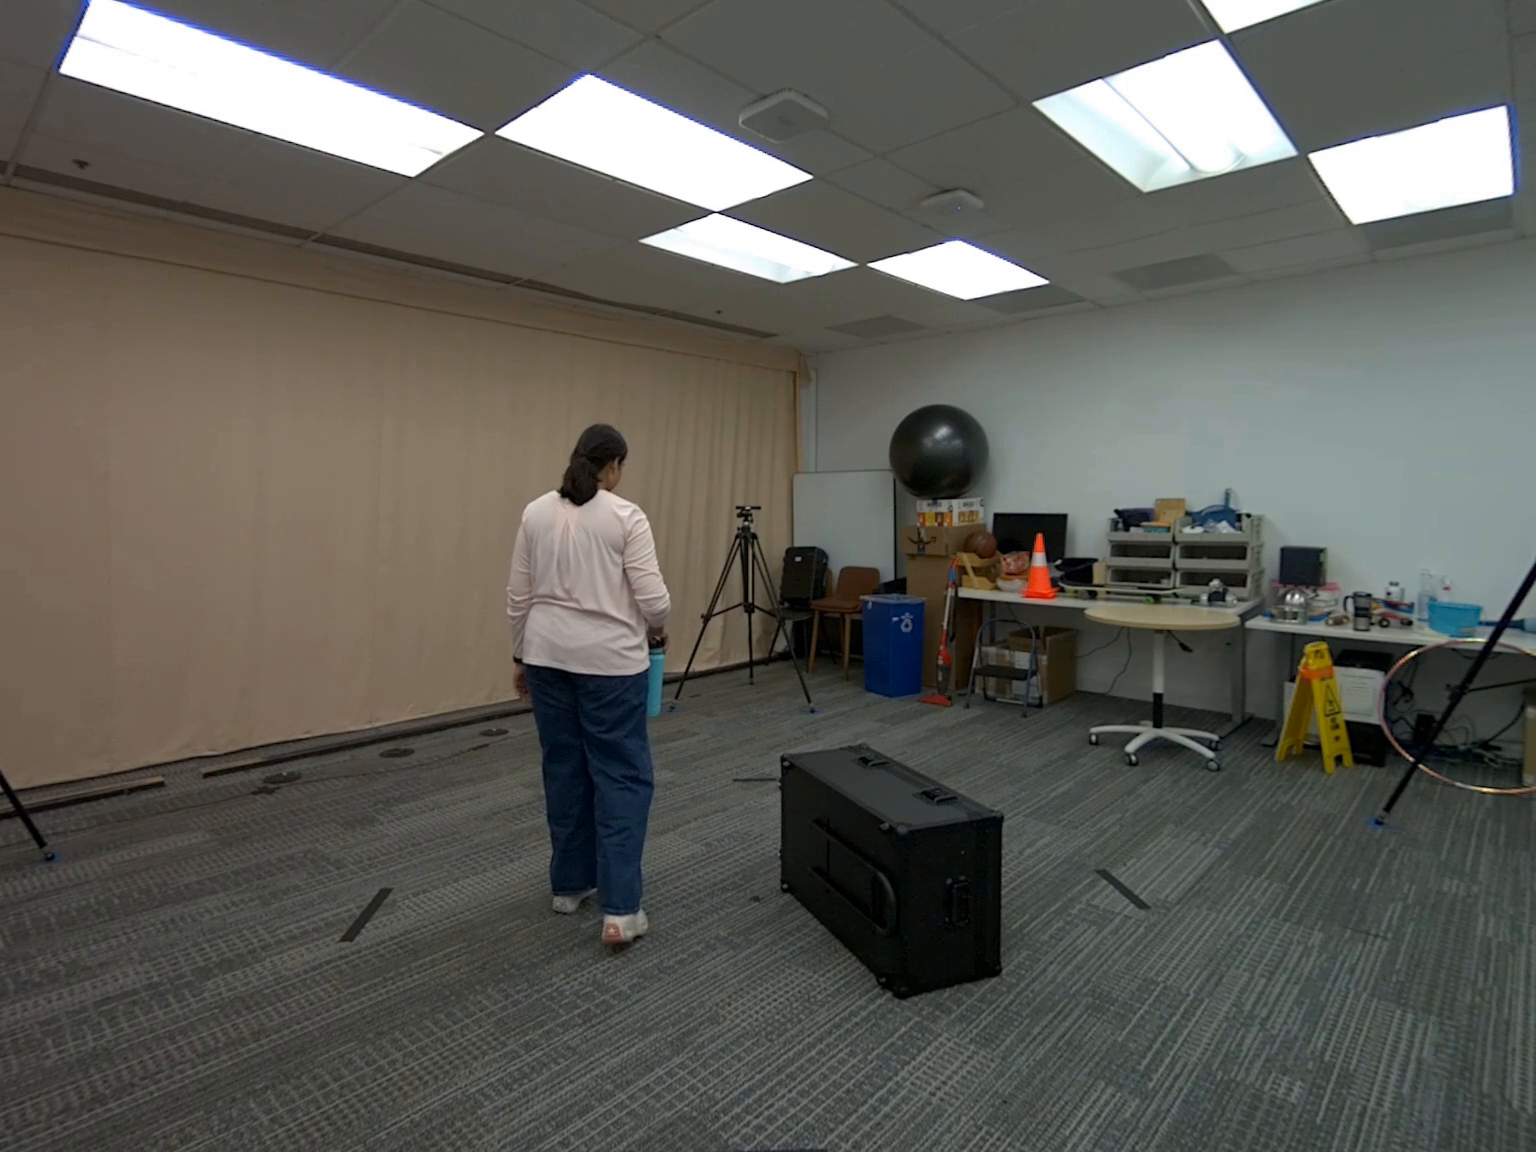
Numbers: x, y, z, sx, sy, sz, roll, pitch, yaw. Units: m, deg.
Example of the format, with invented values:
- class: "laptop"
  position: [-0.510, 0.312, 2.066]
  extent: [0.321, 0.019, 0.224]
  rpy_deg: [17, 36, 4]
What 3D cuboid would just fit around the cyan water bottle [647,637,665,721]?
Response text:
- class: "cyan water bottle"
  position: [-0.436, 0.366, 3.069]
  extent: [0.092, 0.283, 0.093]
  rpy_deg: [5, 5, -2]
